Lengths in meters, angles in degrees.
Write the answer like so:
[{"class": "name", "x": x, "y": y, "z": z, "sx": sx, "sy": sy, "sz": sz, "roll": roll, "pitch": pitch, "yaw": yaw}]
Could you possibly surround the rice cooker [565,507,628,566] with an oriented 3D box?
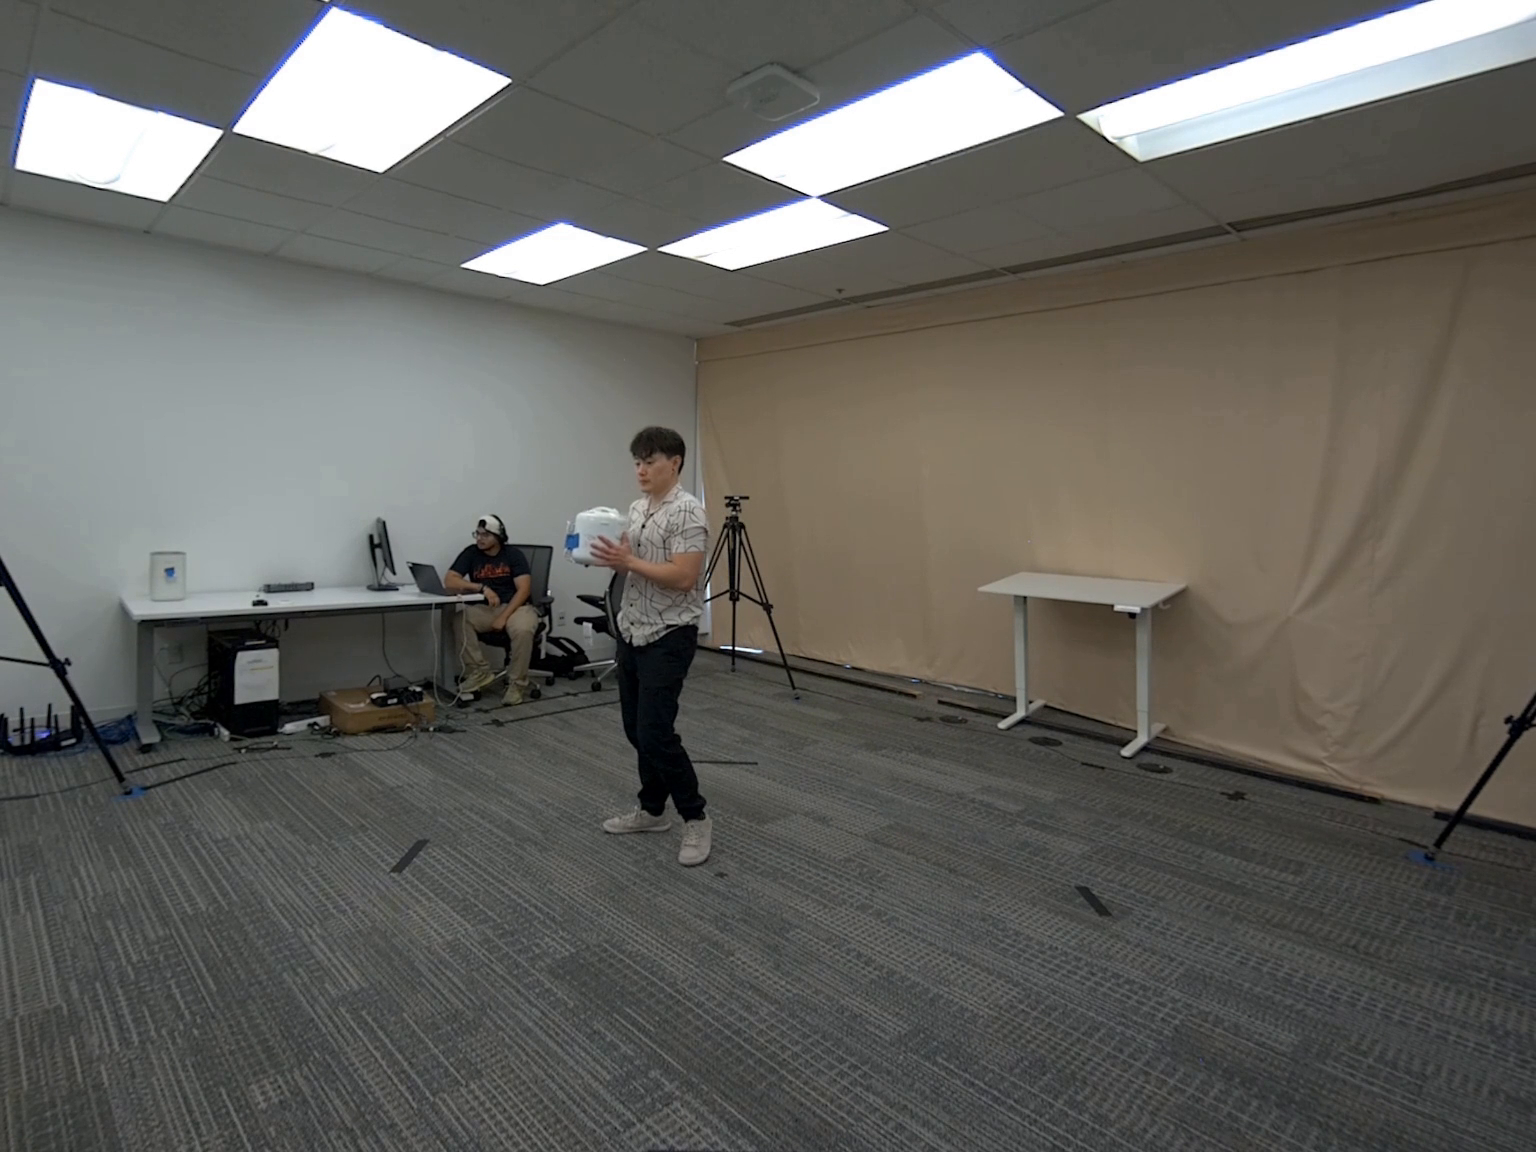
[{"class": "rice cooker", "x": -0.660, "y": -0.154, "z": 3.284, "sx": 0.226, "sy": 0.233, "sz": 0.212, "roll": 5, "pitch": -1, "yaw": 37}]
